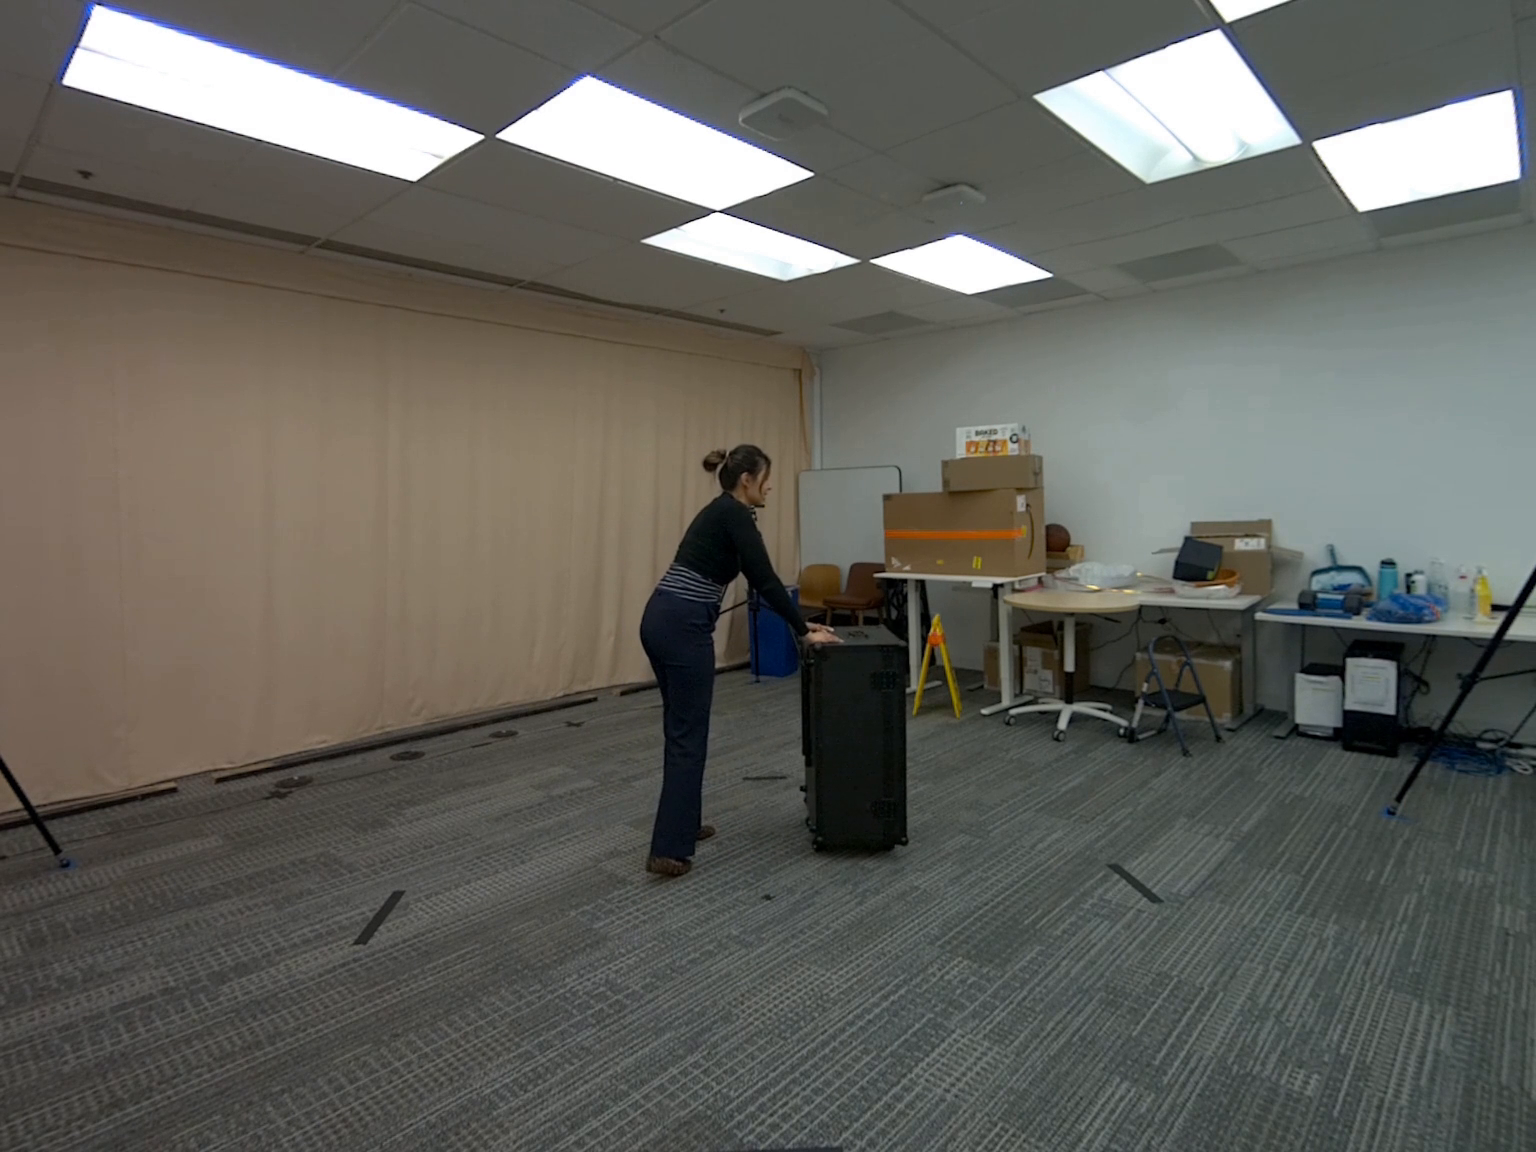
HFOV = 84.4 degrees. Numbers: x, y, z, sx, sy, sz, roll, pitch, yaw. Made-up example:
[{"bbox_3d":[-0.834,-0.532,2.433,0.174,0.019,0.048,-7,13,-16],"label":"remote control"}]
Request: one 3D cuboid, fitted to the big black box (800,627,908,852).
[{"bbox_3d":[0.341,0.667,3.466,0.397,0.859,0.522,-1,4,0],"label":"big black box"}]
